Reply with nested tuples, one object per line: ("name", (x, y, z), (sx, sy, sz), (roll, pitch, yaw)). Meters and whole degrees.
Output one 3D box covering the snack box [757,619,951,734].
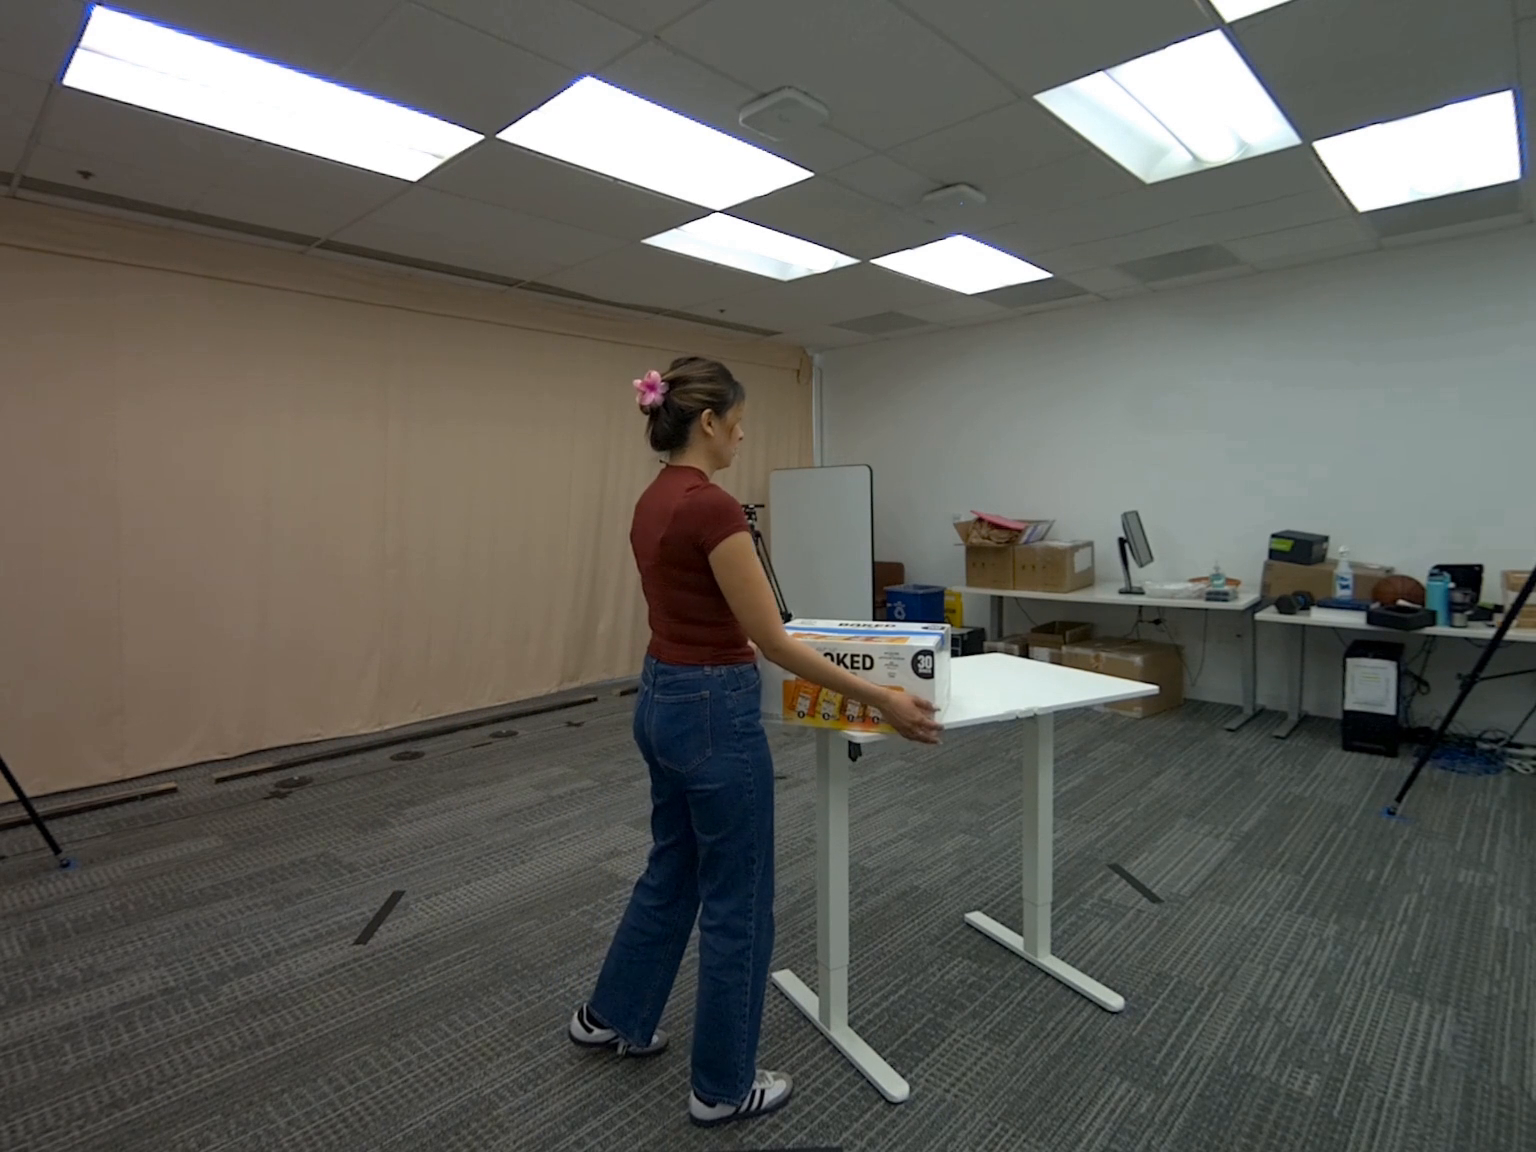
("snack box", (0.227, 0.237, 2.041), (0.413, 0.205, 0.334), (1, 5, 19))
